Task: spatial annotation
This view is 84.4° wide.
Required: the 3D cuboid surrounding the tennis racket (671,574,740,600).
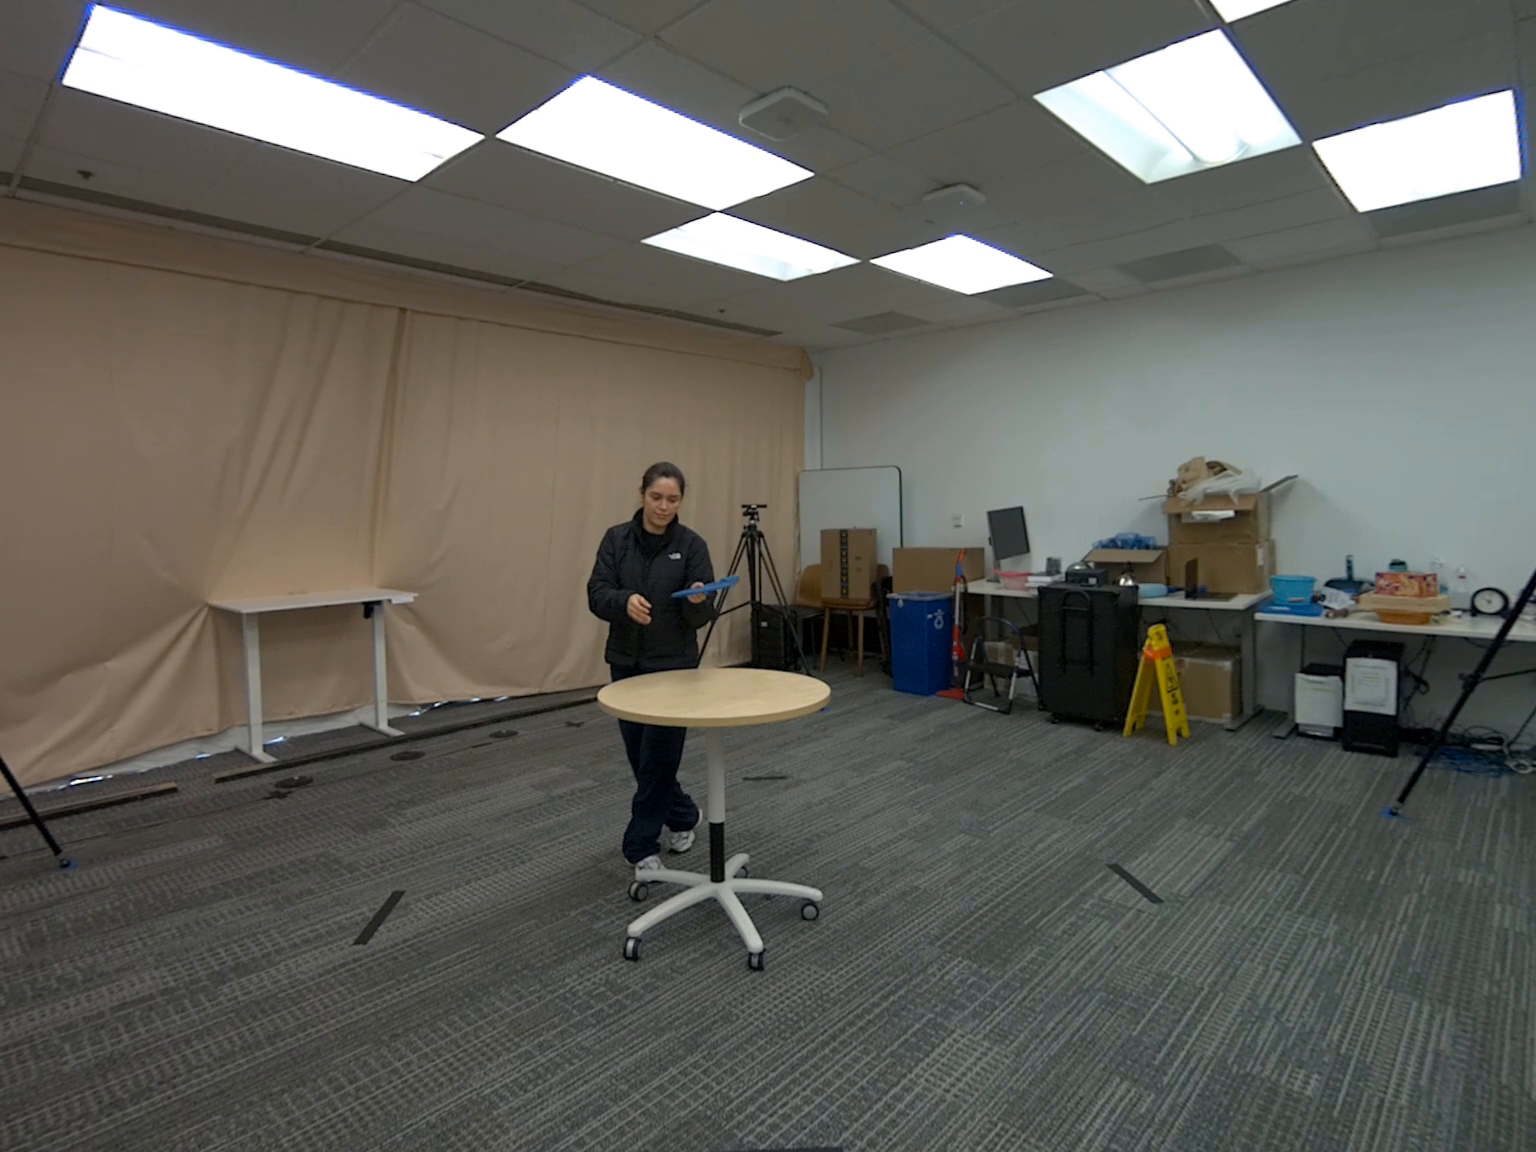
[{"bbox_3d":[-0.209,0.040,2.906,0.213,0.031,0.435,-9,5,-4],"label":"tennis racket"}]
